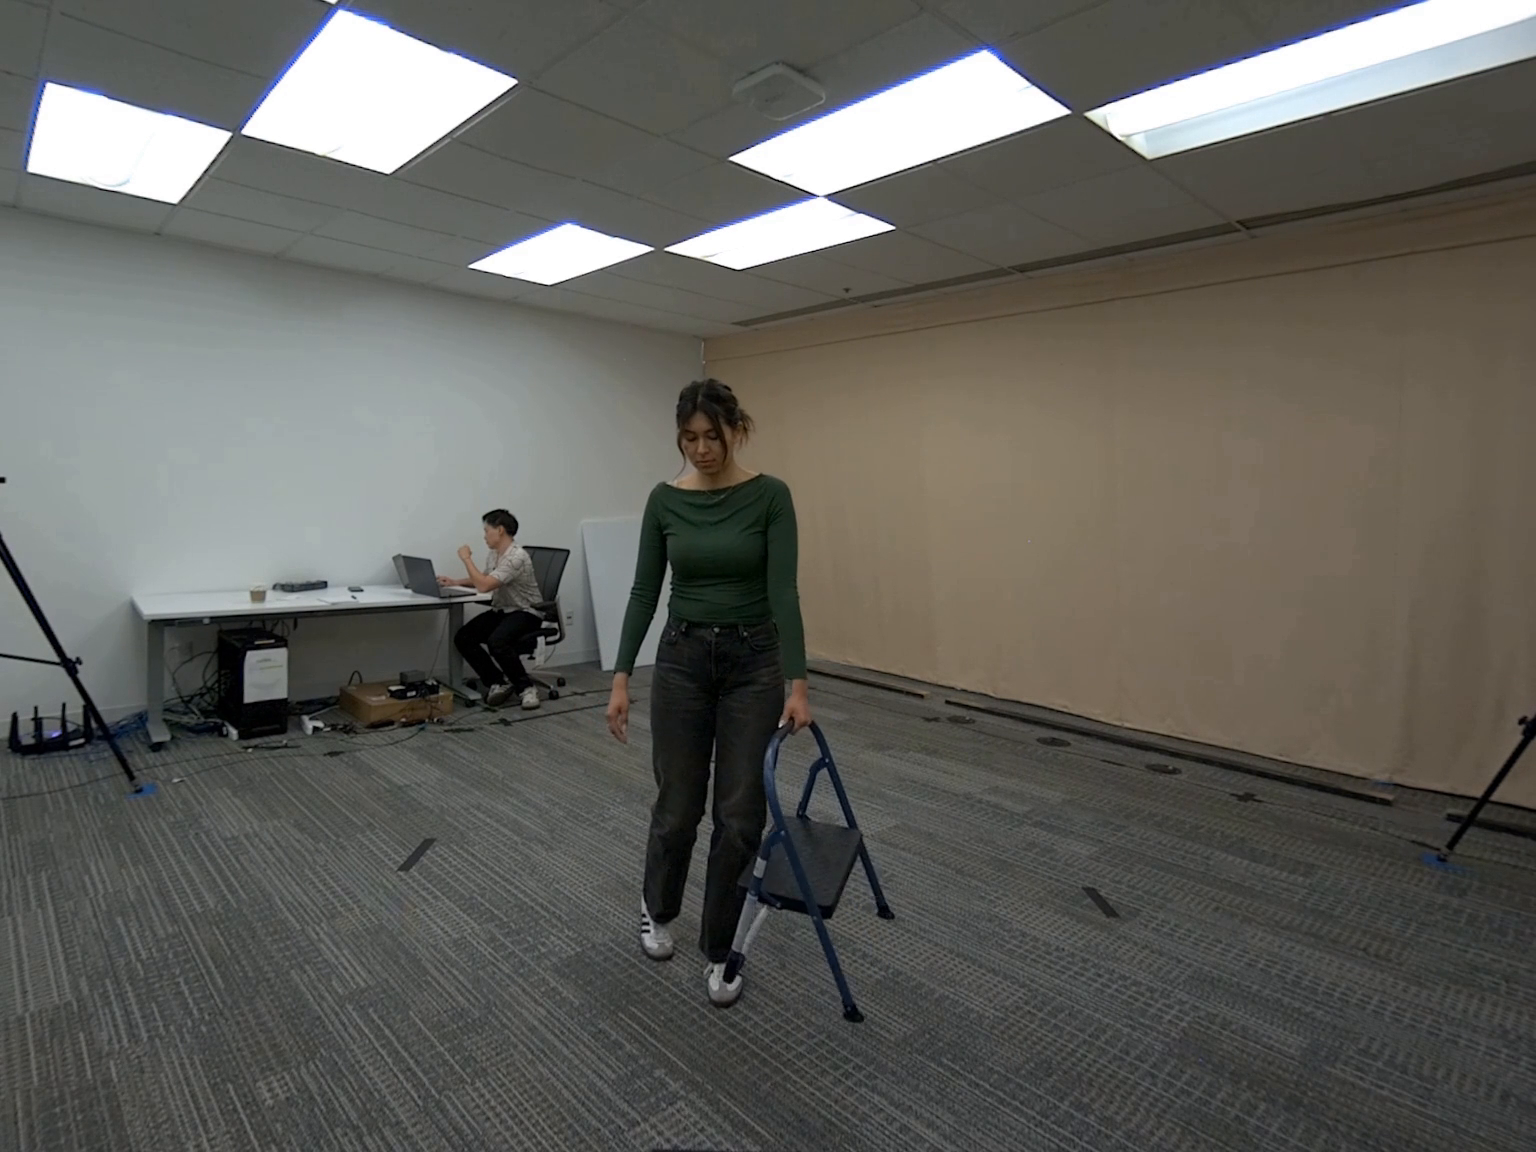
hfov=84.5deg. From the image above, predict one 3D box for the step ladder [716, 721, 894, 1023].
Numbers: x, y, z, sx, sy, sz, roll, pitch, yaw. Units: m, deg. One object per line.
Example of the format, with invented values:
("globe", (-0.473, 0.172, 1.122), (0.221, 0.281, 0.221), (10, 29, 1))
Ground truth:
("step ladder", (0.114, 0.689, 2.130), (0.355, 0.600, 0.428), (4, 13, 19))
